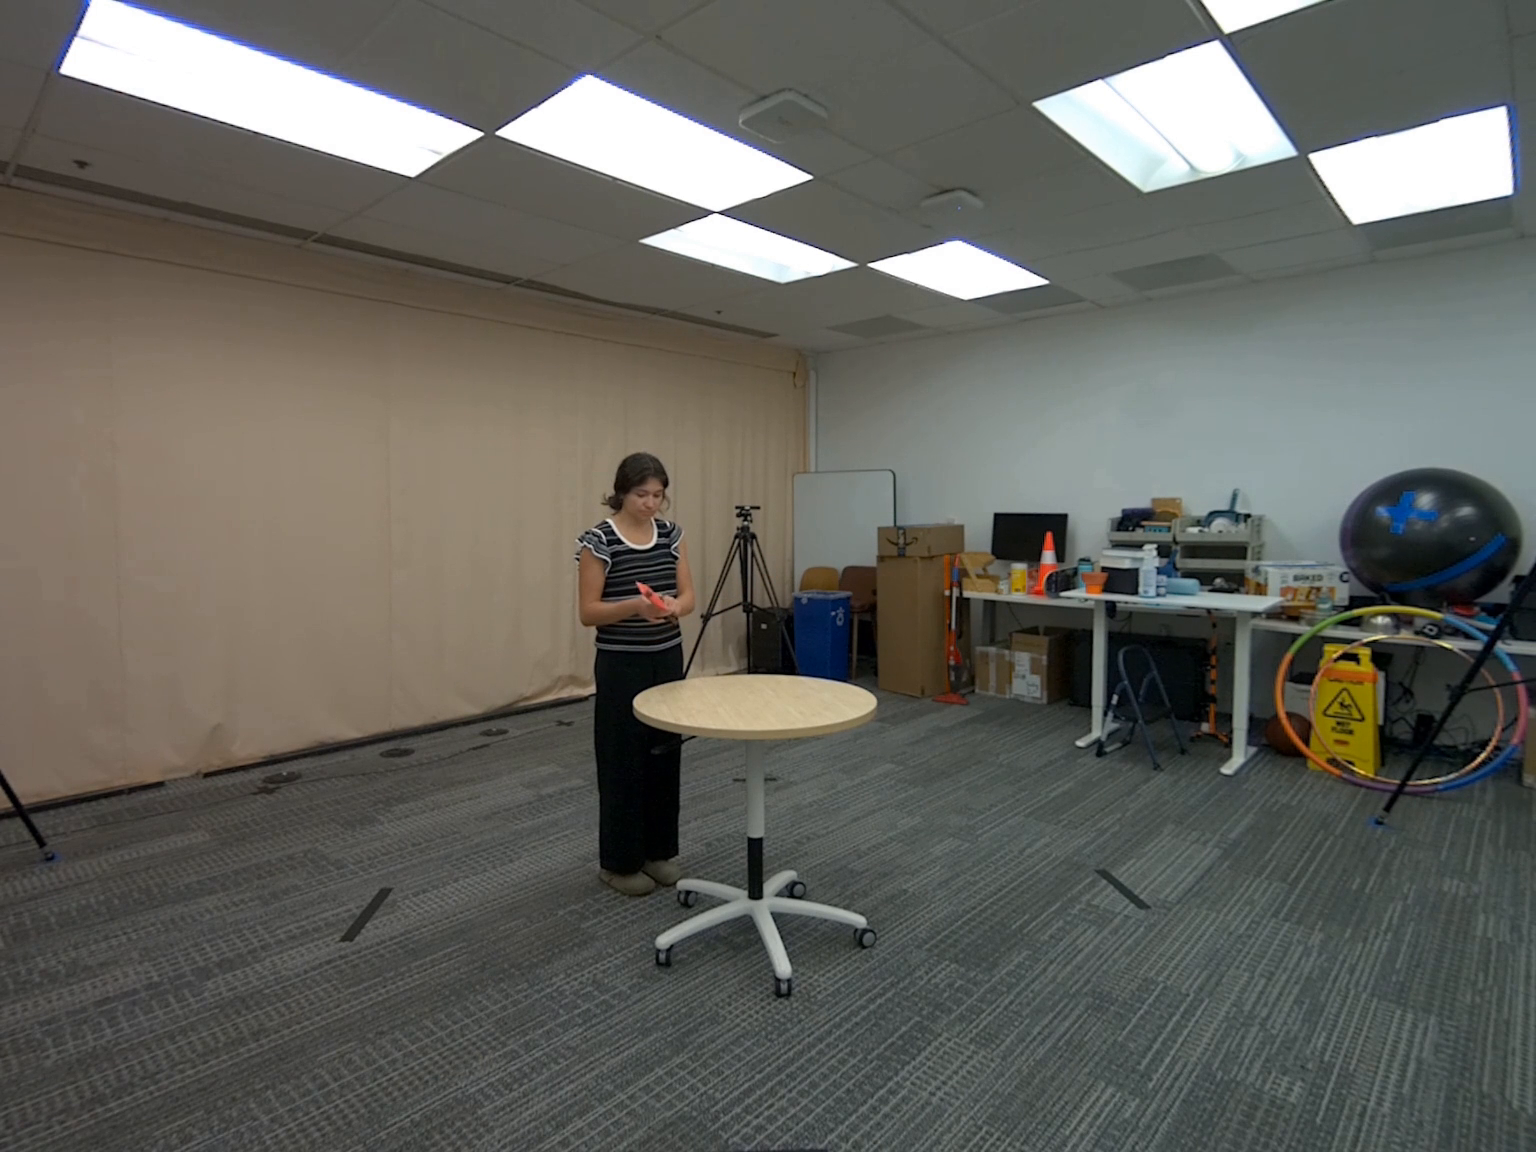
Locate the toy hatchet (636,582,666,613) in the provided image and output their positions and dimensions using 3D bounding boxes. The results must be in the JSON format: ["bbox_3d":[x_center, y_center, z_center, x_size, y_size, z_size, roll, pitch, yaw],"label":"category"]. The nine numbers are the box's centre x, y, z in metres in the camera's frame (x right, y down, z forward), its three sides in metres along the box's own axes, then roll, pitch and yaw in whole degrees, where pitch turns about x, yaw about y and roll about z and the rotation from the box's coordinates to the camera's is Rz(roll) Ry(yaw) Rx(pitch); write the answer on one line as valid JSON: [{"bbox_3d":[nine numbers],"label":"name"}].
[{"bbox_3d":[-0.347,0.106,2.811,0.136,0.029,0.261,40,-9,35],"label":"toy hatchet"}]
